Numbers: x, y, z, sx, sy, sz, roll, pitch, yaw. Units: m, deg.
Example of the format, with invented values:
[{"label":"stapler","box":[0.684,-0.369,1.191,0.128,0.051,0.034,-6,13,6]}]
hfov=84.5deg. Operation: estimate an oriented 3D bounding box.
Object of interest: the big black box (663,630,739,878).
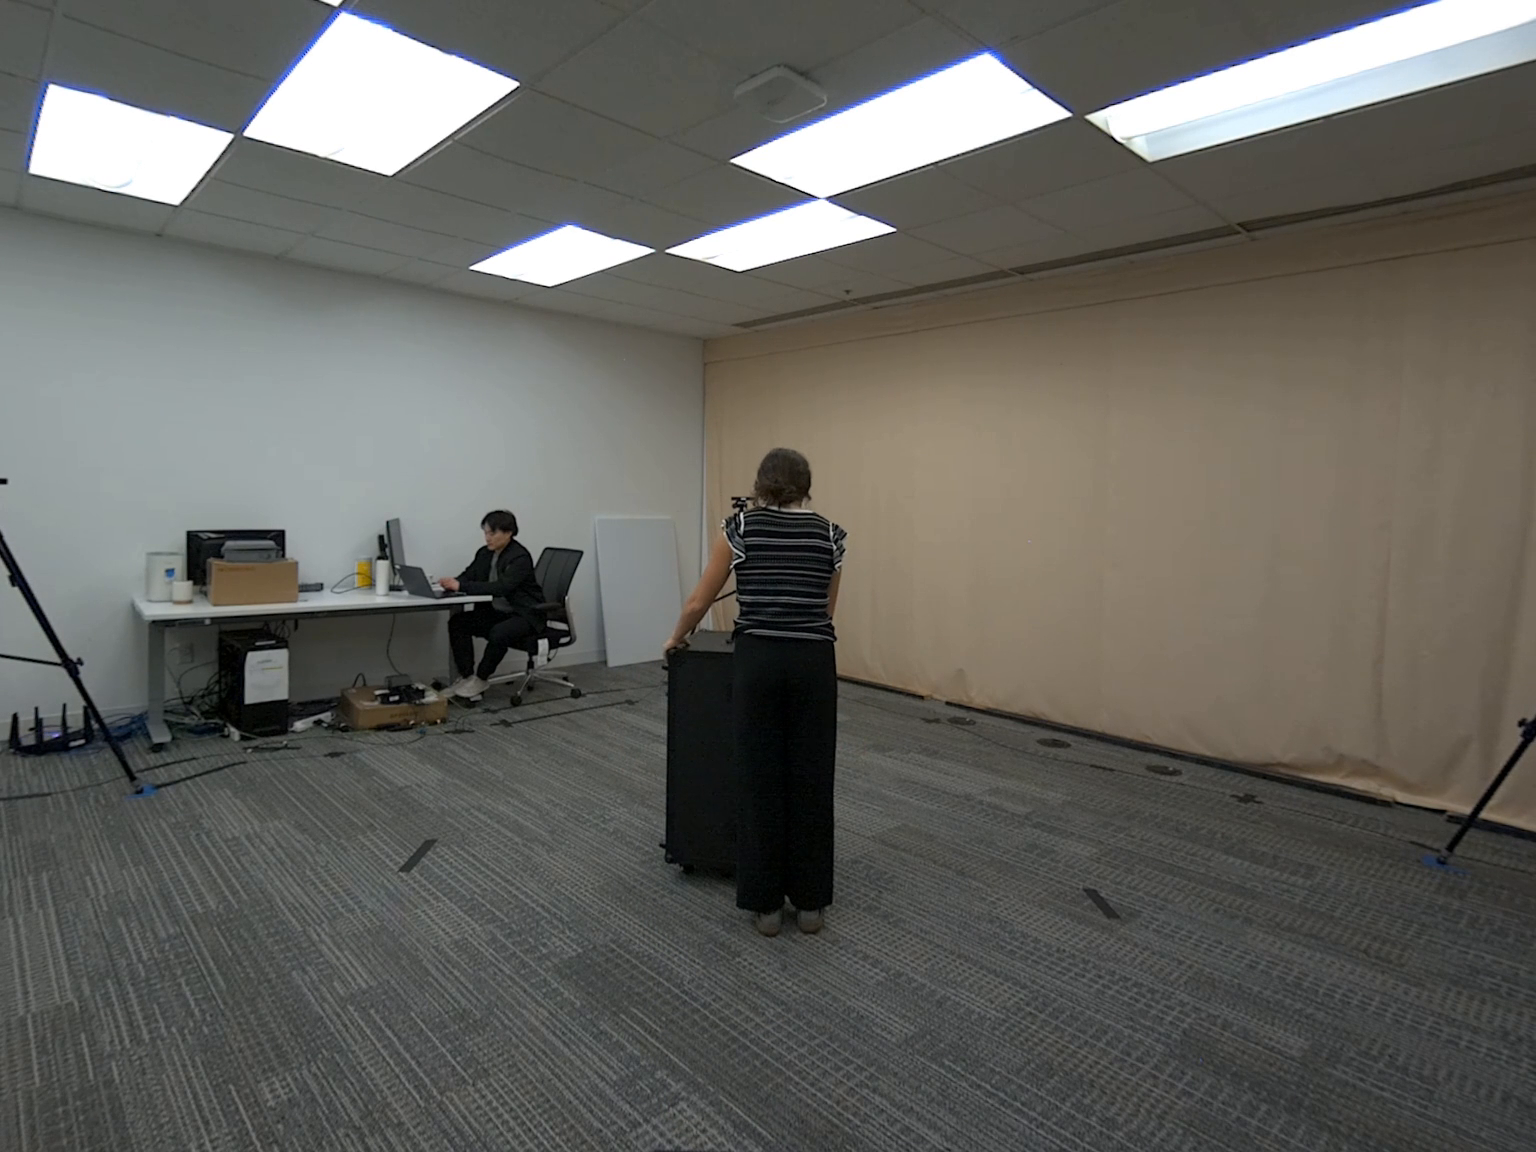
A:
[{"label":"big black box","box":[-0.178,0.675,3.222,0.399,0.860,0.518,1,3,9]}]
